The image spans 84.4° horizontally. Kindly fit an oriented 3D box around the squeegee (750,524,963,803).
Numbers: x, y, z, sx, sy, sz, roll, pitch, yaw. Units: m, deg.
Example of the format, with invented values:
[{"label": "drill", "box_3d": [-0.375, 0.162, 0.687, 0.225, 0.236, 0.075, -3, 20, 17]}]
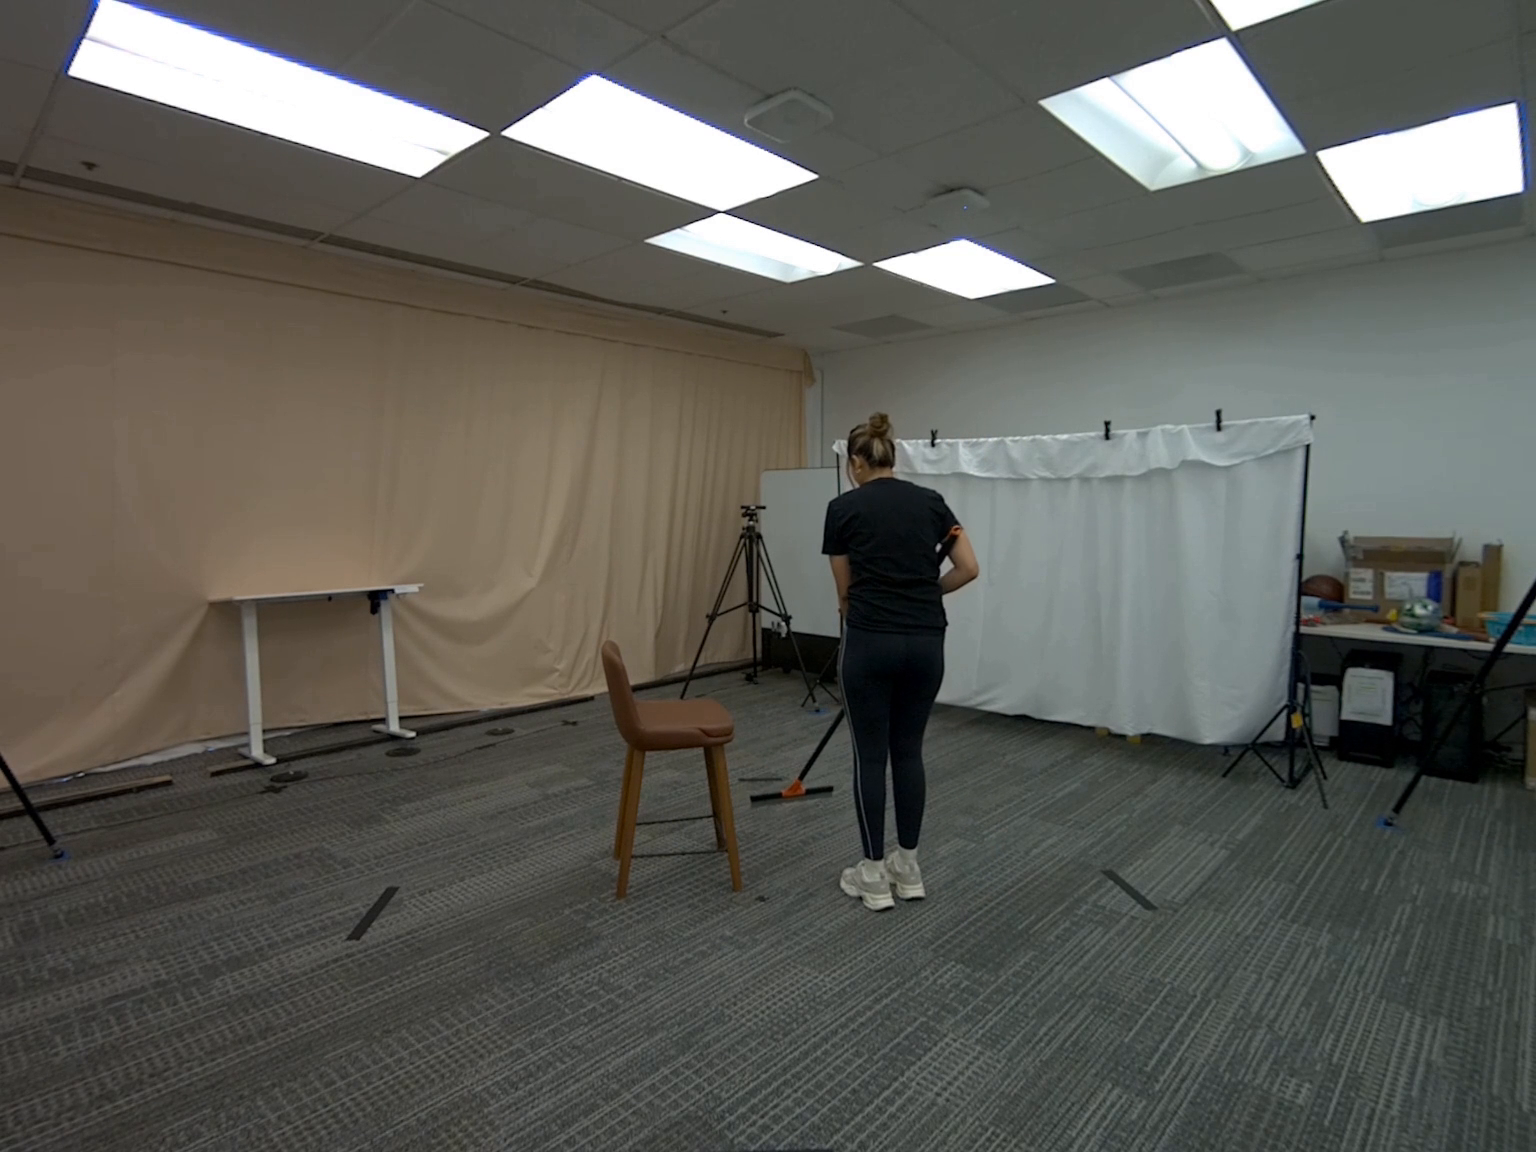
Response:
[{"label": "squeegee", "box_3d": [0.361, 0.424, 3.335, 0.425, 1.533, 0.054, 3, 41, -30]}]
